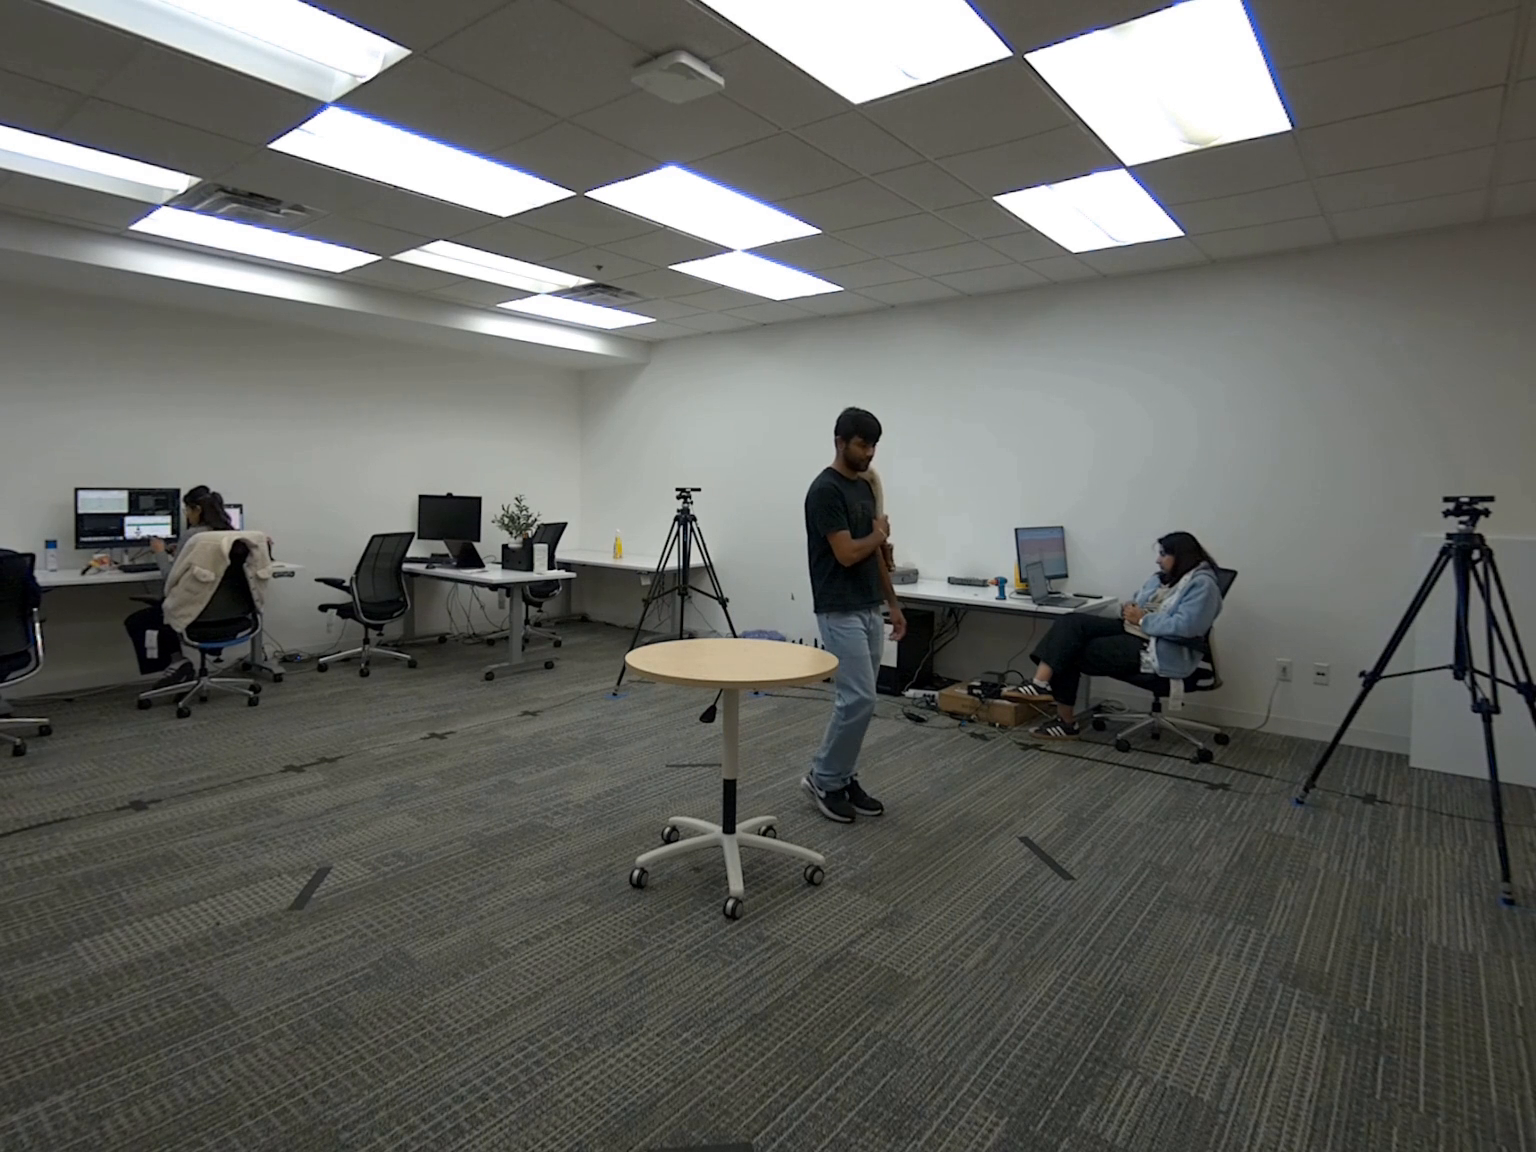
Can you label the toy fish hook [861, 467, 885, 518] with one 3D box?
[{"bbox_3d":[0.442,-0.255,3.781,0.047,0.513,0.228,-7,-12,-41],"label":"toy fish hook"}]
